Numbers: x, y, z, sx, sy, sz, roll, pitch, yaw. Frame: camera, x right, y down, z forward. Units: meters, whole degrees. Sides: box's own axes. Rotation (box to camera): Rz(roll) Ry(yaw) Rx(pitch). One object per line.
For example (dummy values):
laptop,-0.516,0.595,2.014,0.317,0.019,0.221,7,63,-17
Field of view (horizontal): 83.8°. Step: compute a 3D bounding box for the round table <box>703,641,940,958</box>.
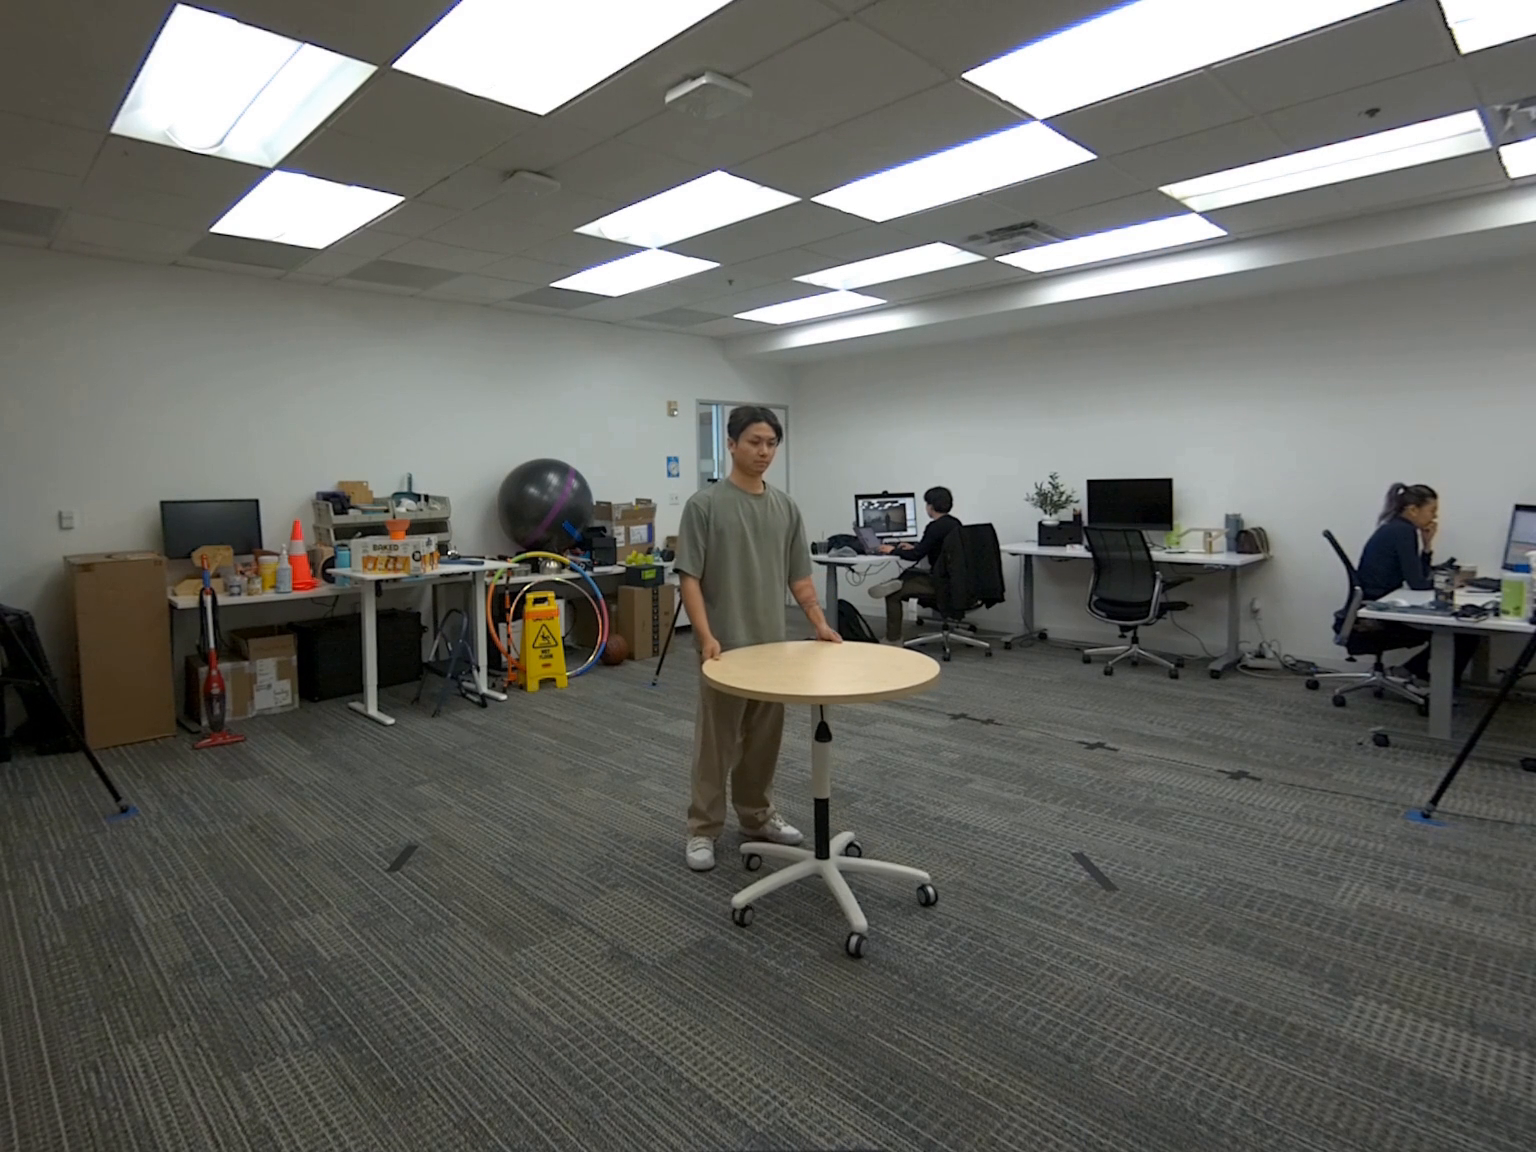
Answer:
round table,0.193,0.676,2.824,0.784,0.783,0.789,-1,5,-2
